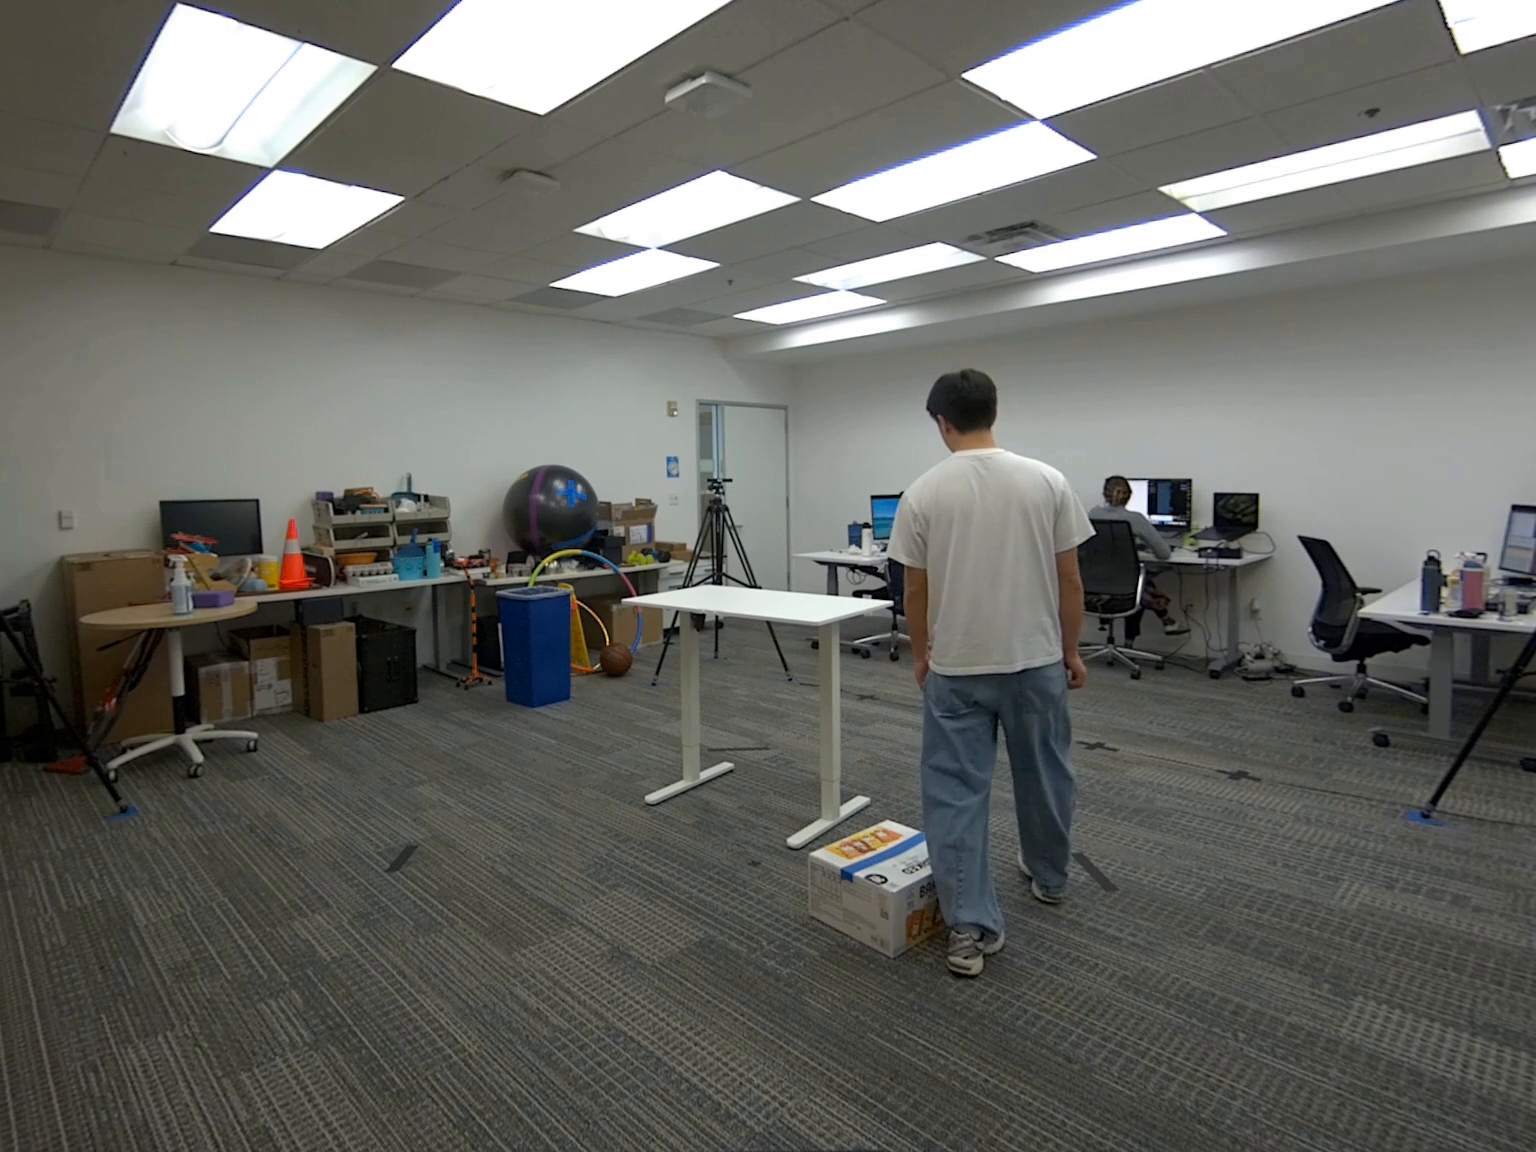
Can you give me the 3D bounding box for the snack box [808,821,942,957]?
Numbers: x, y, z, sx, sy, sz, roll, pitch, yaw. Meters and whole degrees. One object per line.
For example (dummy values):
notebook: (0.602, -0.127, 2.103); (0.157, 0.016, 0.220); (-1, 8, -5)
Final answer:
snack box: (0.397, 0.981, 2.719); (0.394, 0.205, 0.351); (-6, 8, -41)
